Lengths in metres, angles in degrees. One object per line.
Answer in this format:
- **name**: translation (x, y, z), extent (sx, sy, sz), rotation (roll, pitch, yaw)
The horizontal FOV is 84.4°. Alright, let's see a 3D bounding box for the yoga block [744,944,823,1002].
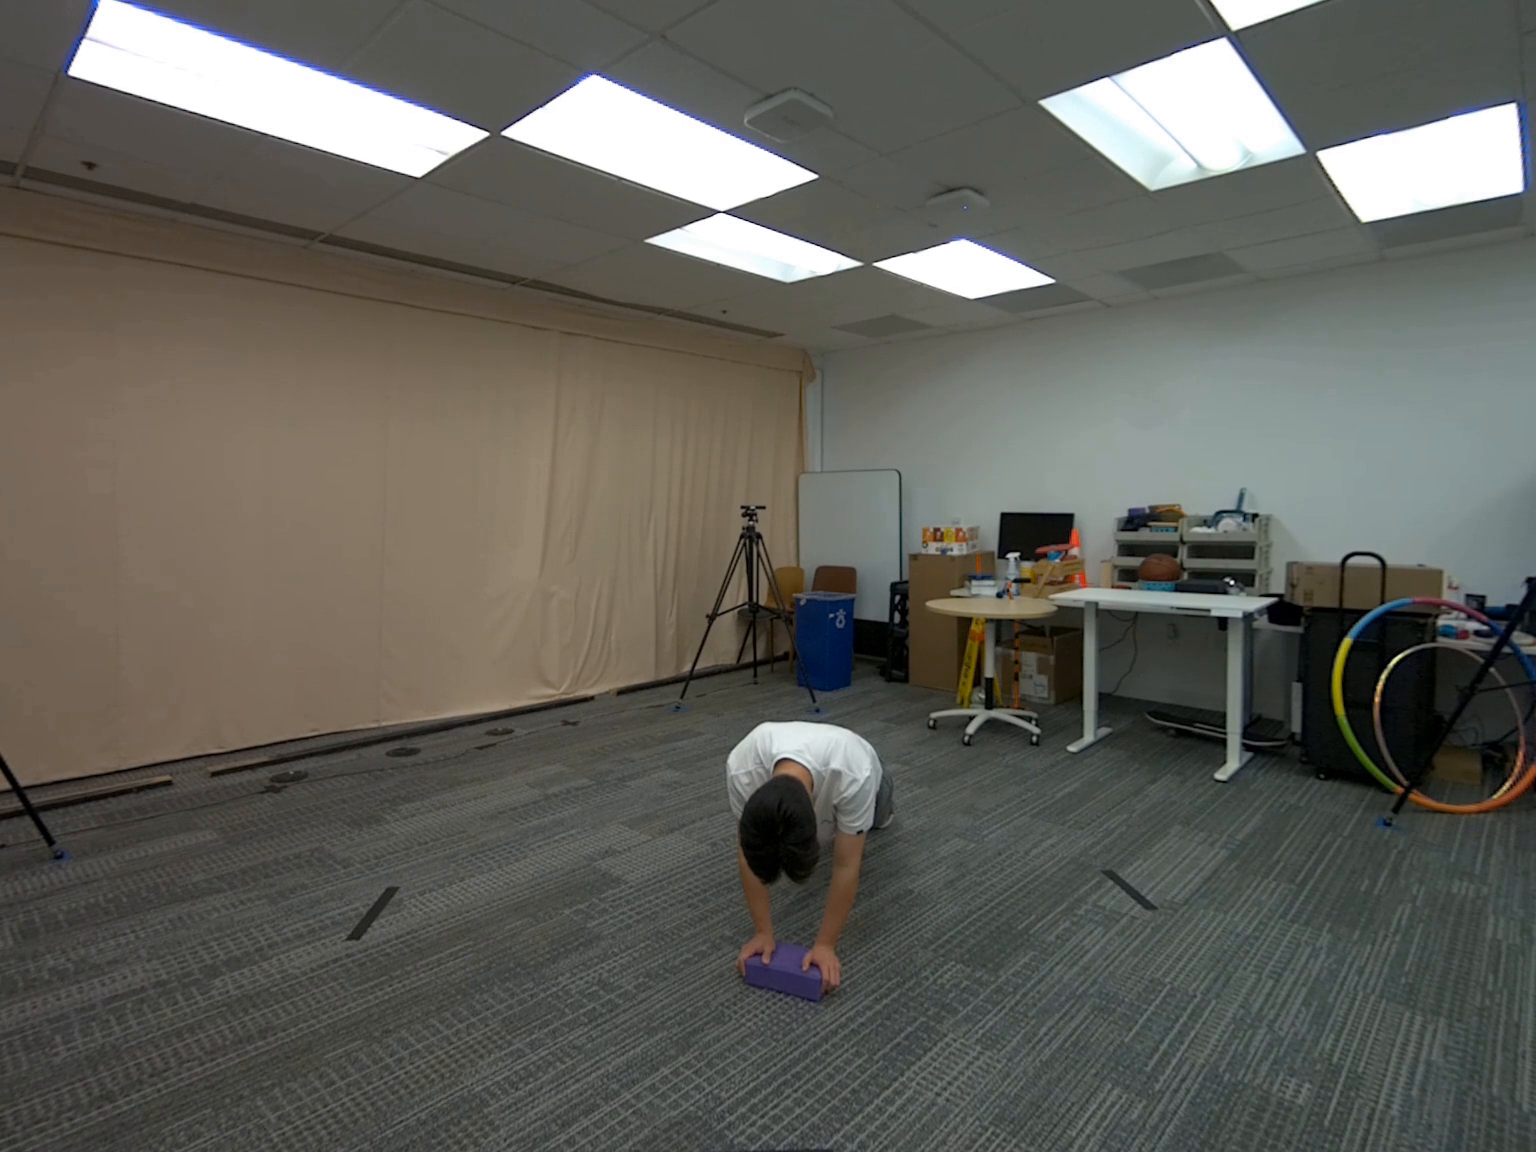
- **yoga block**: translation (0.075, 1.153, 2.463), extent (0.235, 0.076, 0.146), rotation (2, 5, 24)
